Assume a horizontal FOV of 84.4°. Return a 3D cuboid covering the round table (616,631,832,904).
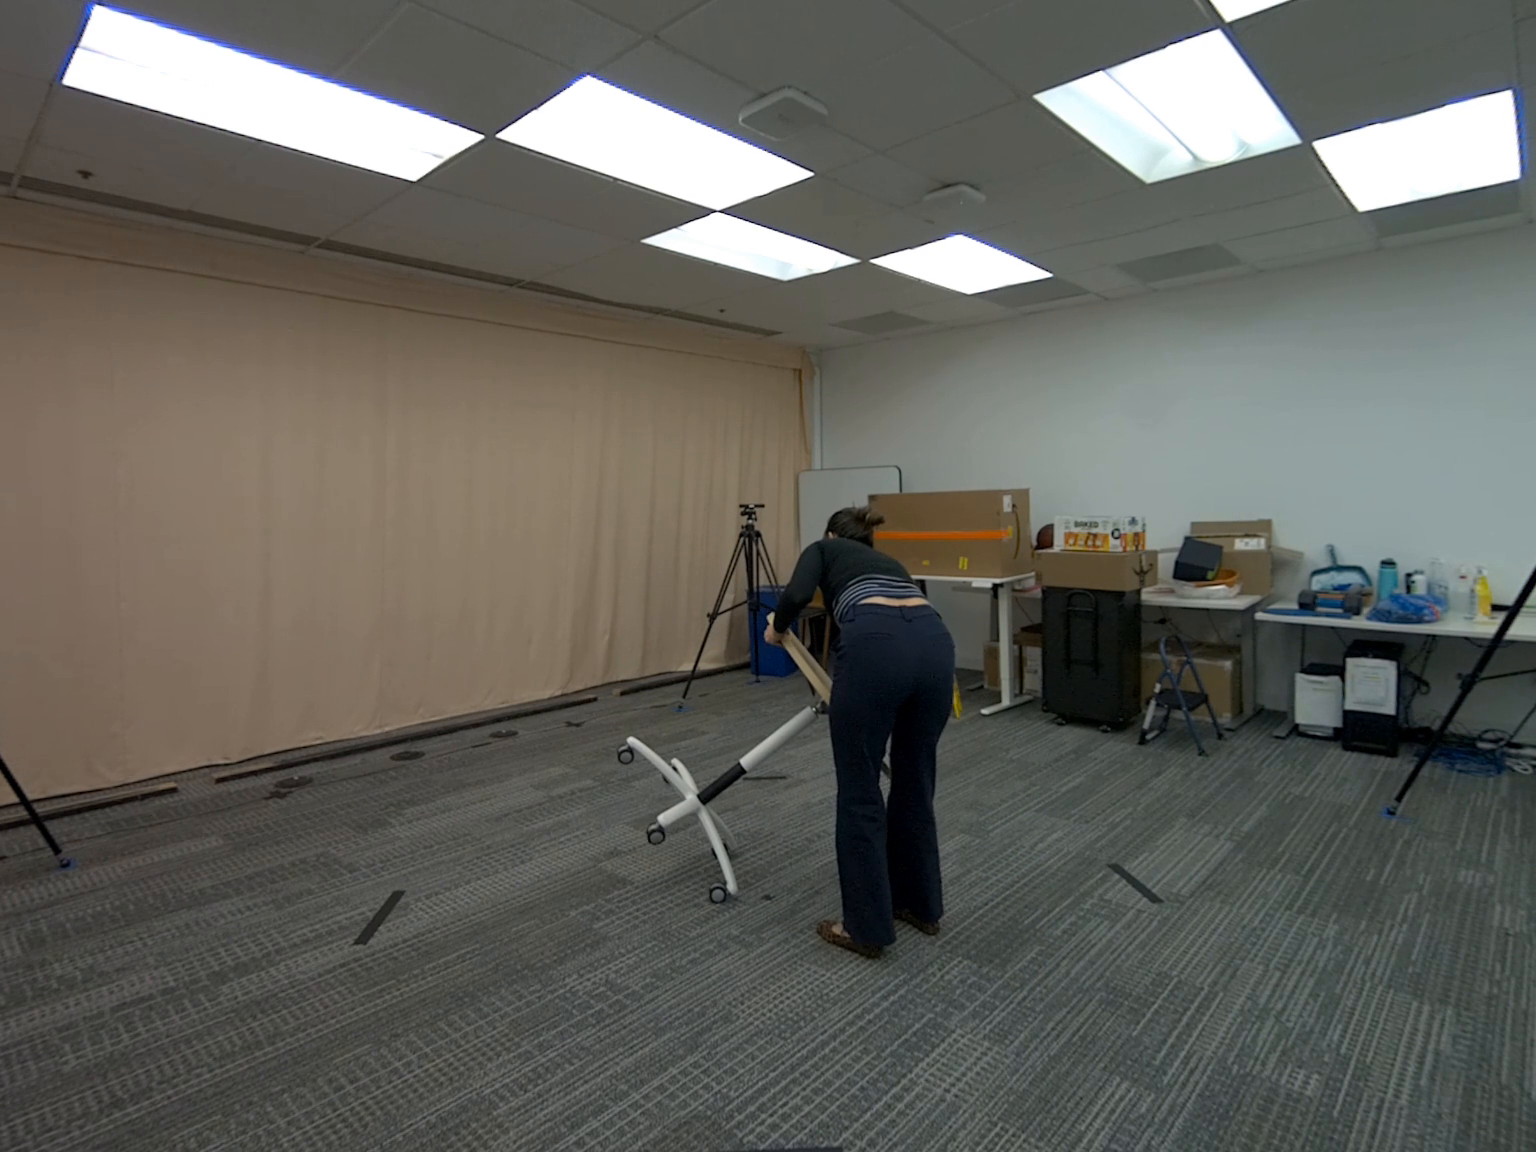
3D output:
[{"bbox_3d":[-0.058,0.682,3.130,0.794,0.762,0.766,-39,3,2],"label":"round table"}]
